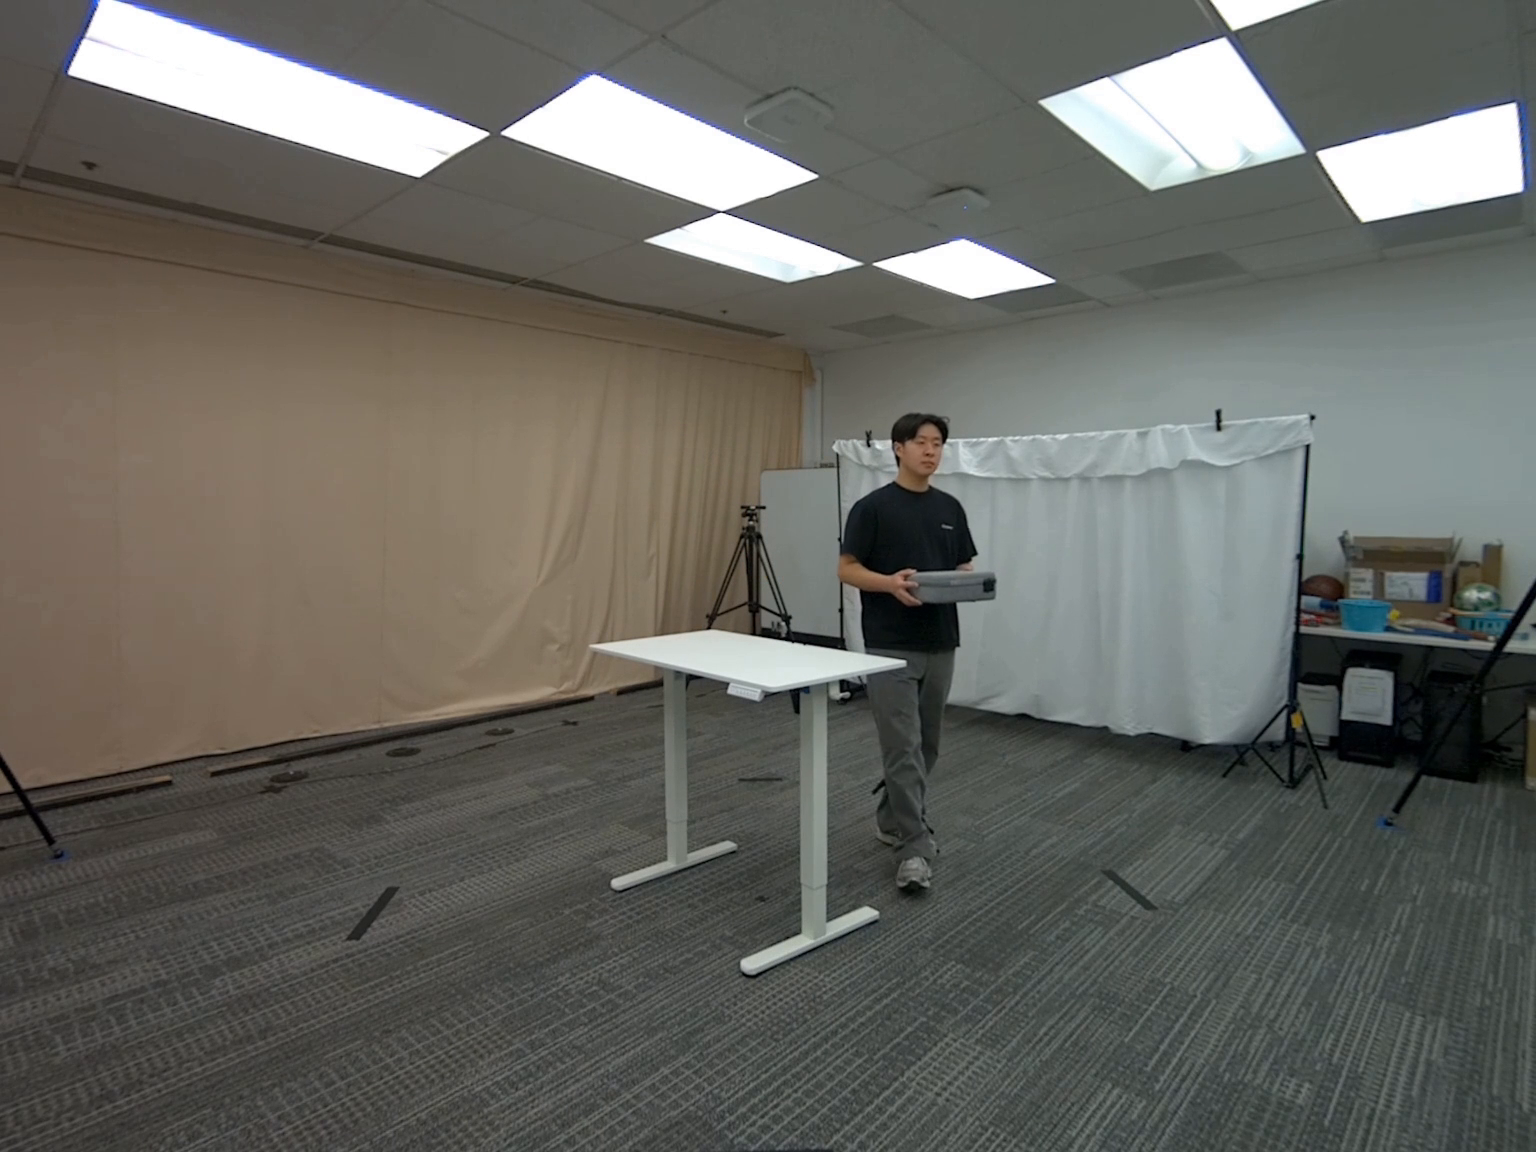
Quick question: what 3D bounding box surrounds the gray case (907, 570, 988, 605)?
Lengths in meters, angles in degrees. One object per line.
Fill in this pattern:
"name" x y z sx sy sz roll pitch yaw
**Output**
"gray case" 0.589 0.041 3.046 0.294 0.103 0.257 -2 5 25
